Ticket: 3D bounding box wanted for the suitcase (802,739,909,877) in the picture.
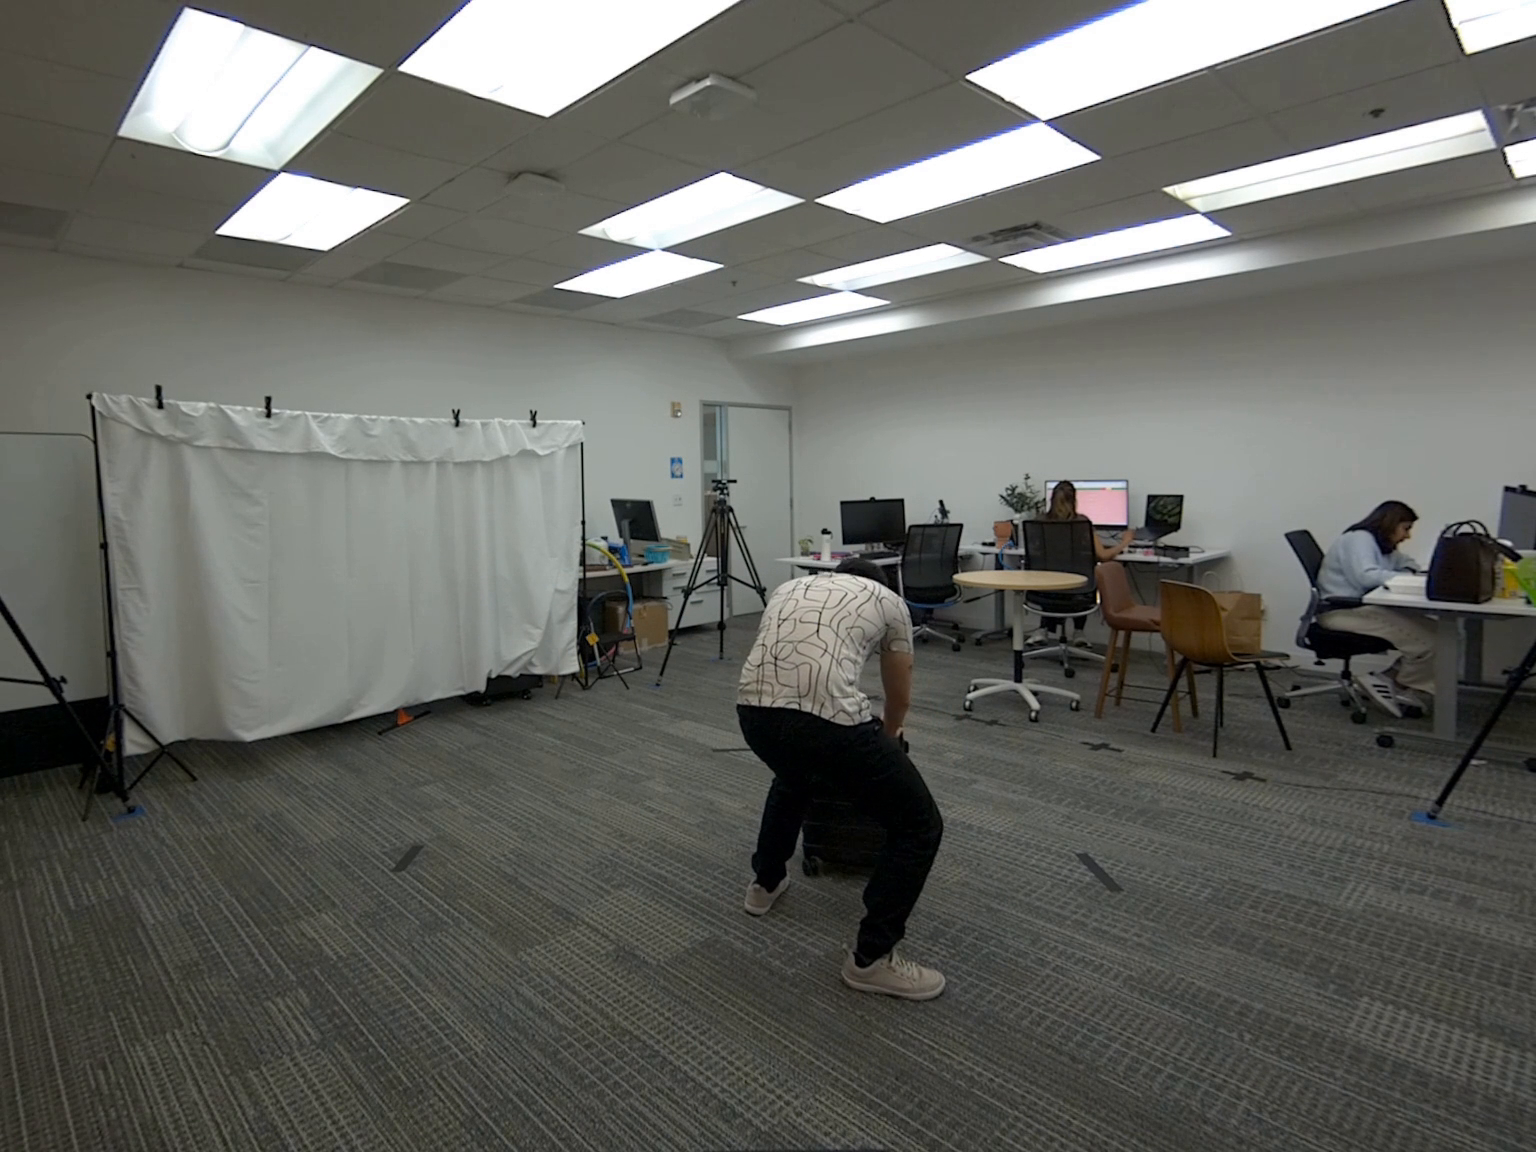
[{"bbox_3d":[0.312,0.772,3.081,0.382,0.548,0.244,0,2,18],"label":"suitcase"}]
